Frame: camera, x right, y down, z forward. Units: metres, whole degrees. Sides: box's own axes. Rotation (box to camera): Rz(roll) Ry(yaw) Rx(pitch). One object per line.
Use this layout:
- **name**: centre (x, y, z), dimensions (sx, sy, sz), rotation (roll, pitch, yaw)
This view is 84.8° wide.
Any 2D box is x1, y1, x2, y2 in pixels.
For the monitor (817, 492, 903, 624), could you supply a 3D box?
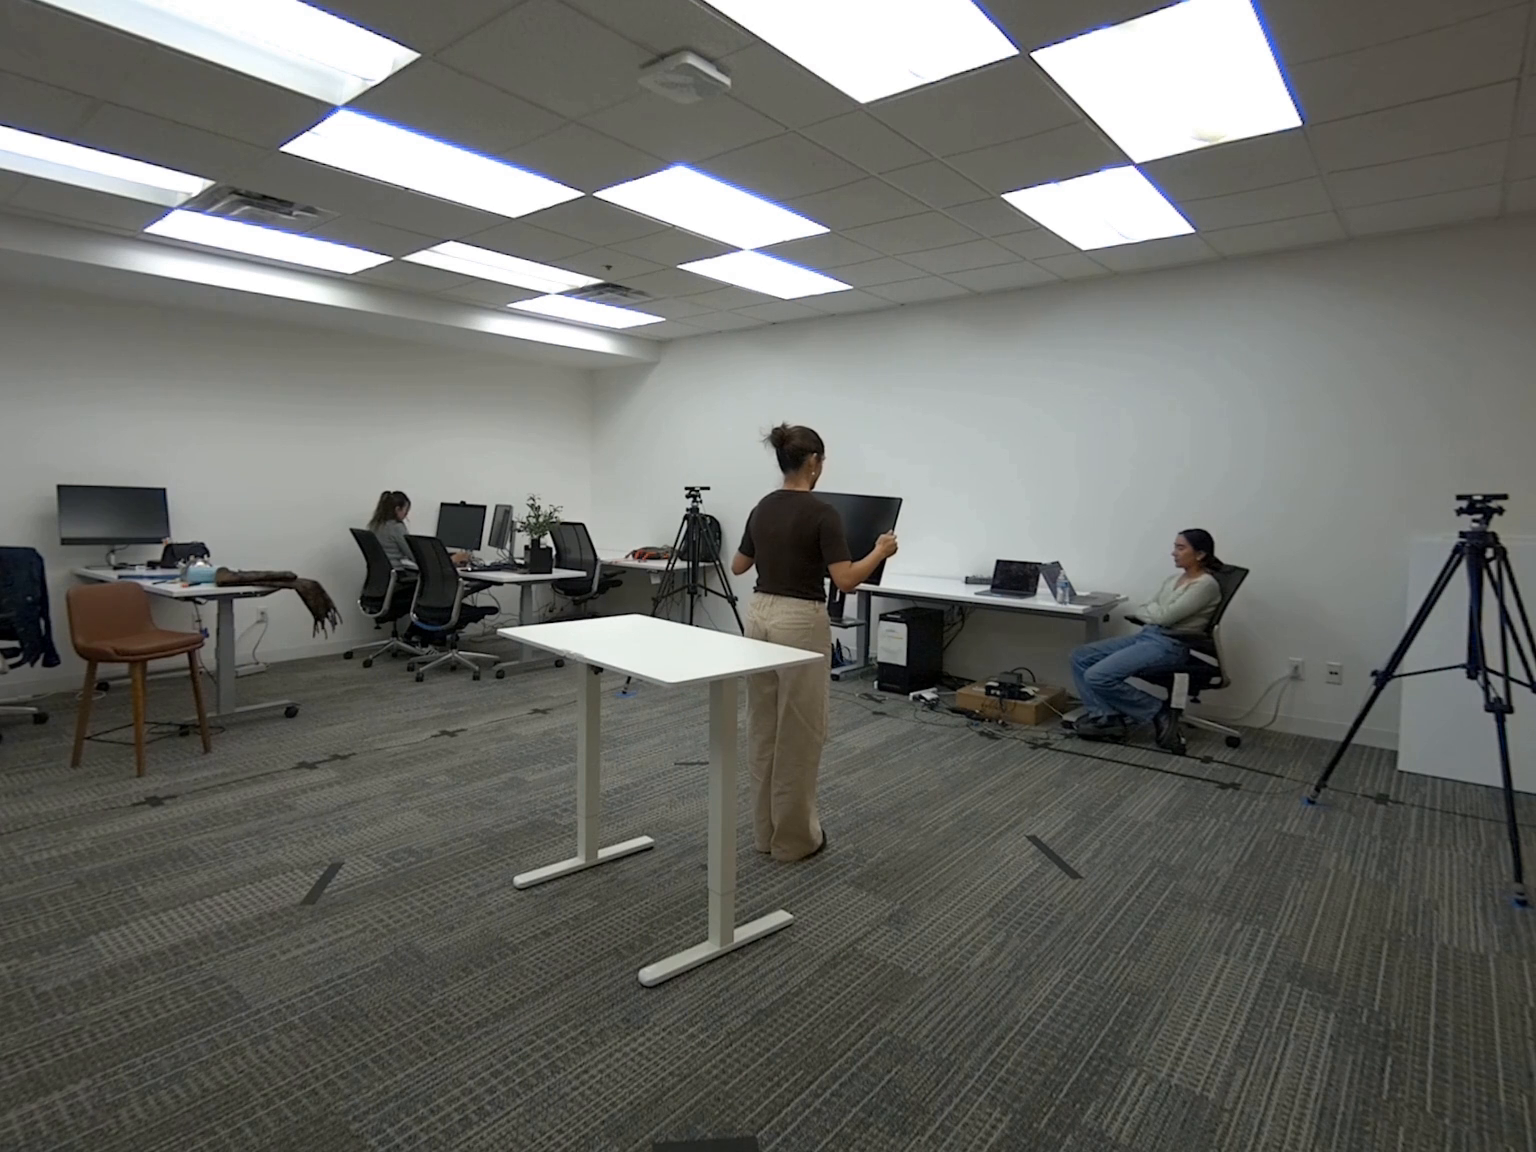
- **monitor**: centre (0.263, -0.069, 3.402), dimensions (0.558, 0.522, 0.181), rotation (8, 3, 38)
